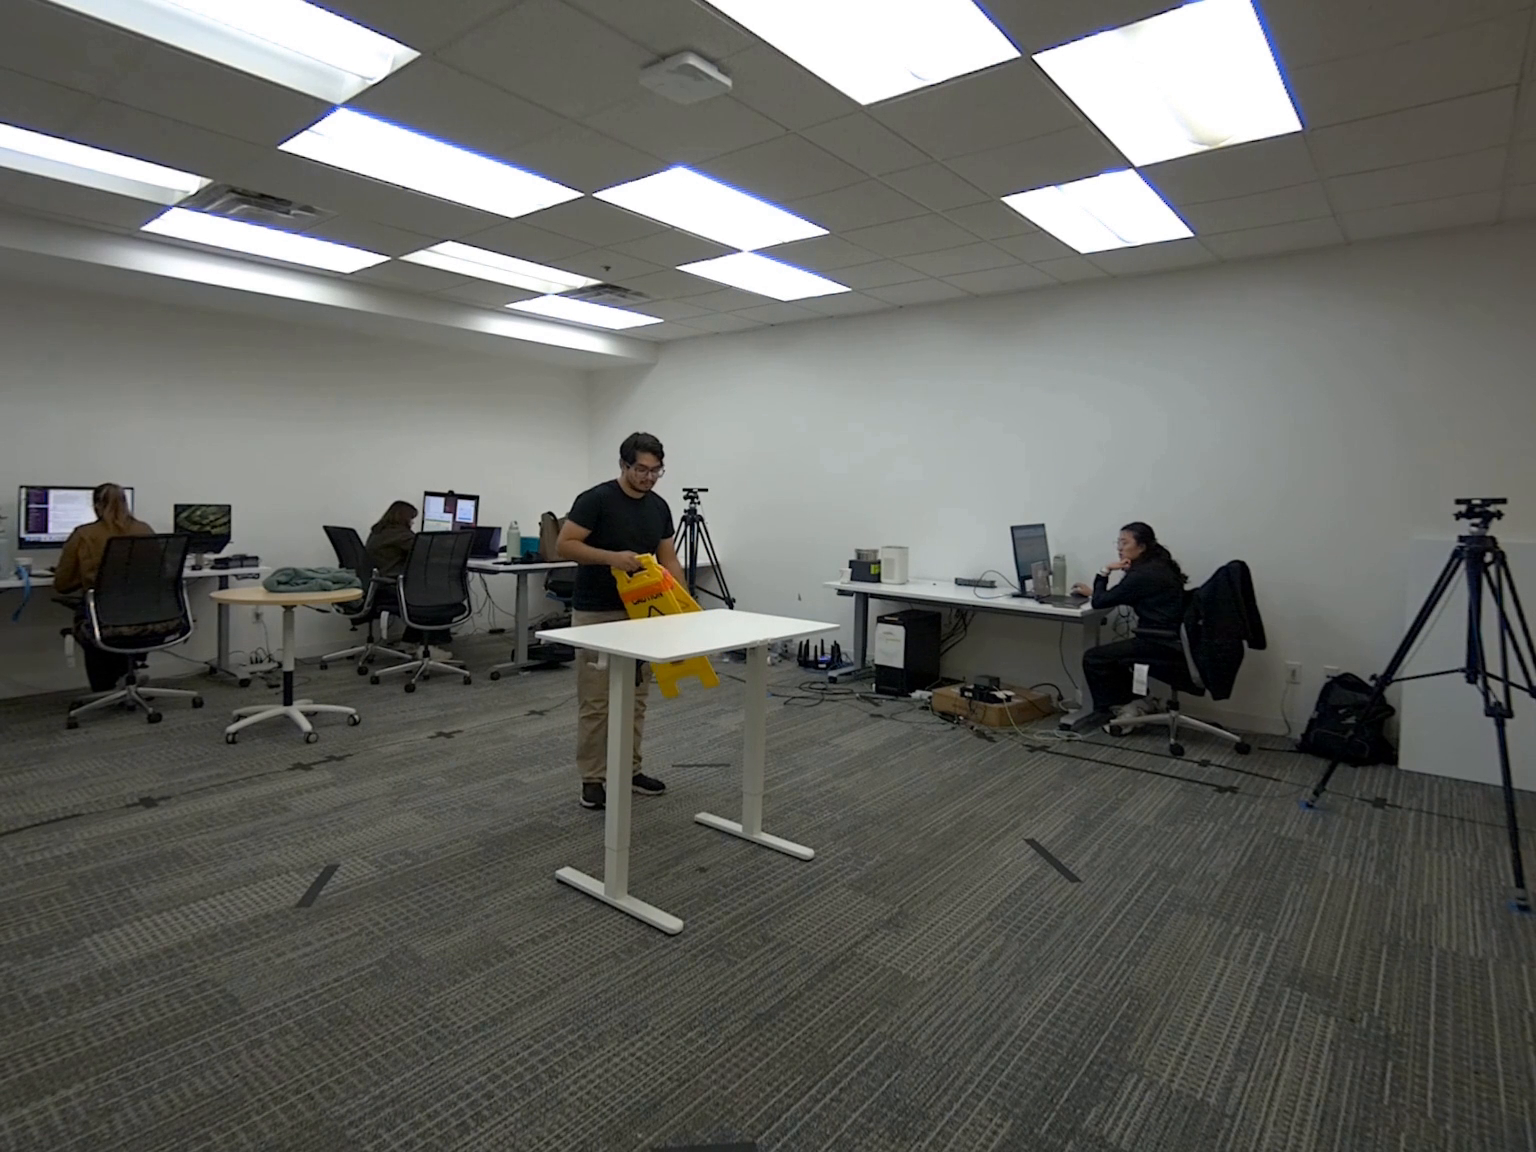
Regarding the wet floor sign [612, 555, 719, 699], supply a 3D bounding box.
[{"bbox_3d":[-0.472,0.180,3.729,0.286,0.625,0.295,-18,30,20],"label":"wet floor sign"}]
